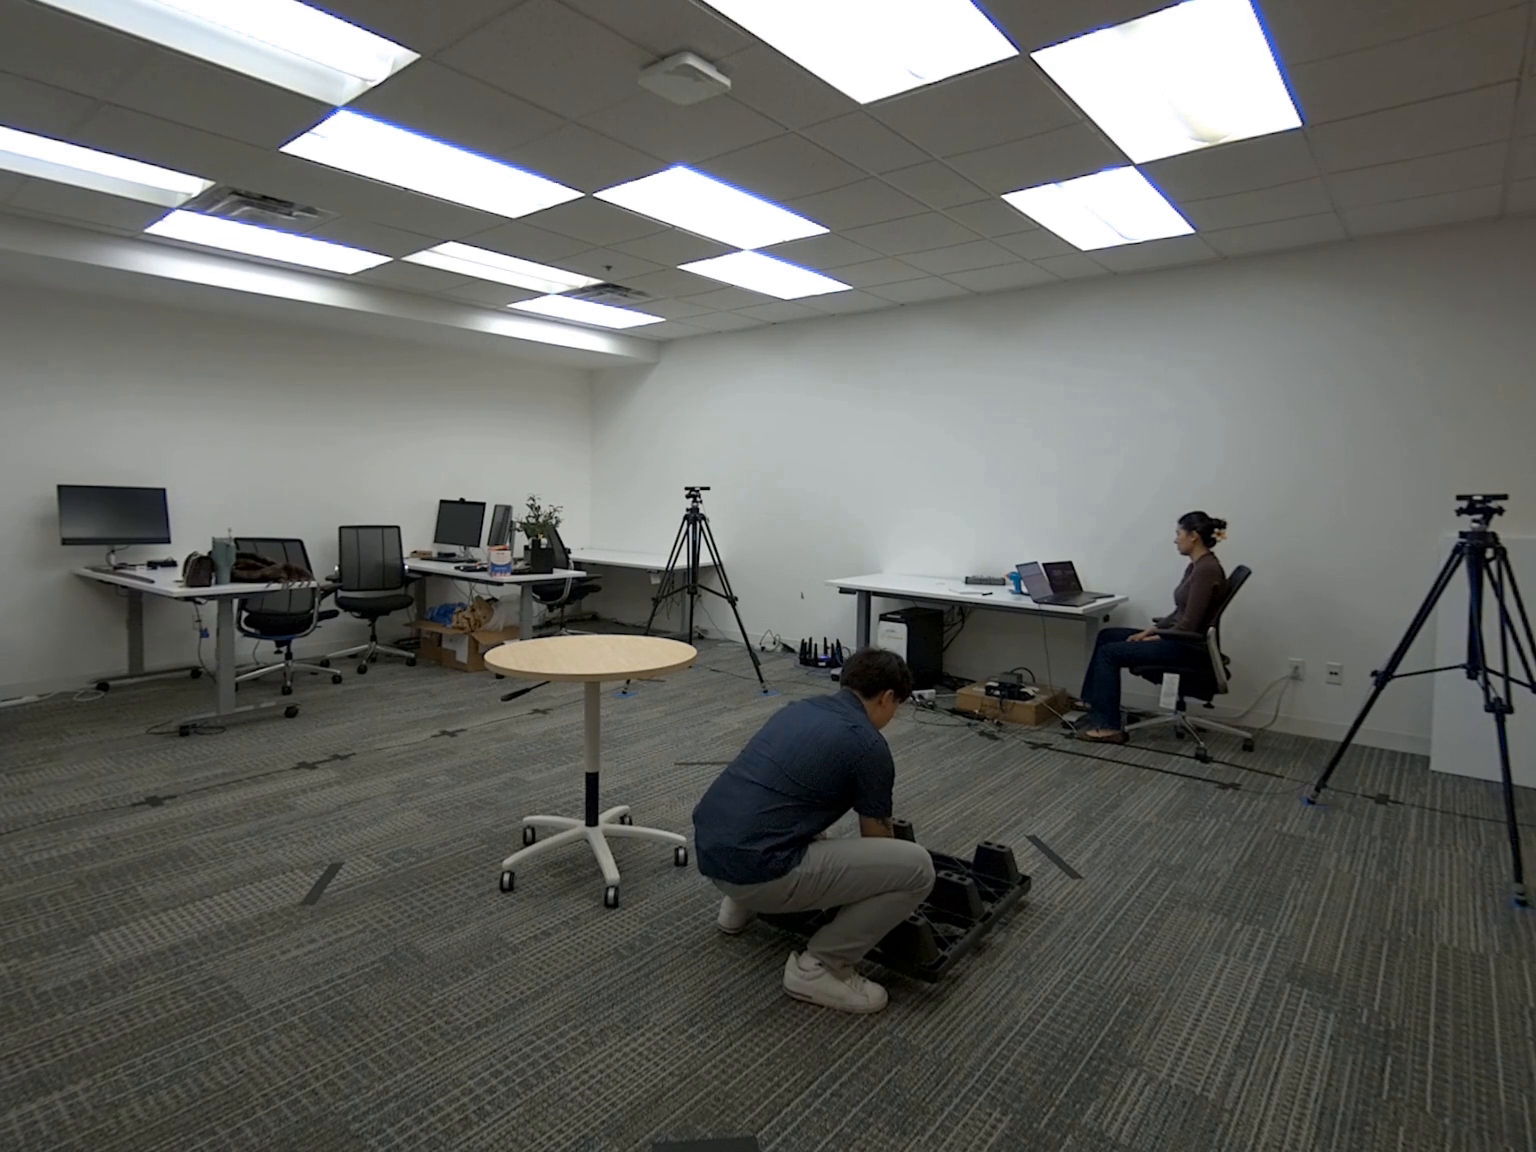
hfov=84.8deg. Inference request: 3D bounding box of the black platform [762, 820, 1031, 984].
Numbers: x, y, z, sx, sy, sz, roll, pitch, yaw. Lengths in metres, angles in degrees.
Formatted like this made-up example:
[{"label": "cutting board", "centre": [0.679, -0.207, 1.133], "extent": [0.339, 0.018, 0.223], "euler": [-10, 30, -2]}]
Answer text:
[{"label": "black platform", "centre": [0.435, 0.998, 2.766], "extent": [0.624, 0.143, 0.782], "euler": [2, 5, 36]}]
